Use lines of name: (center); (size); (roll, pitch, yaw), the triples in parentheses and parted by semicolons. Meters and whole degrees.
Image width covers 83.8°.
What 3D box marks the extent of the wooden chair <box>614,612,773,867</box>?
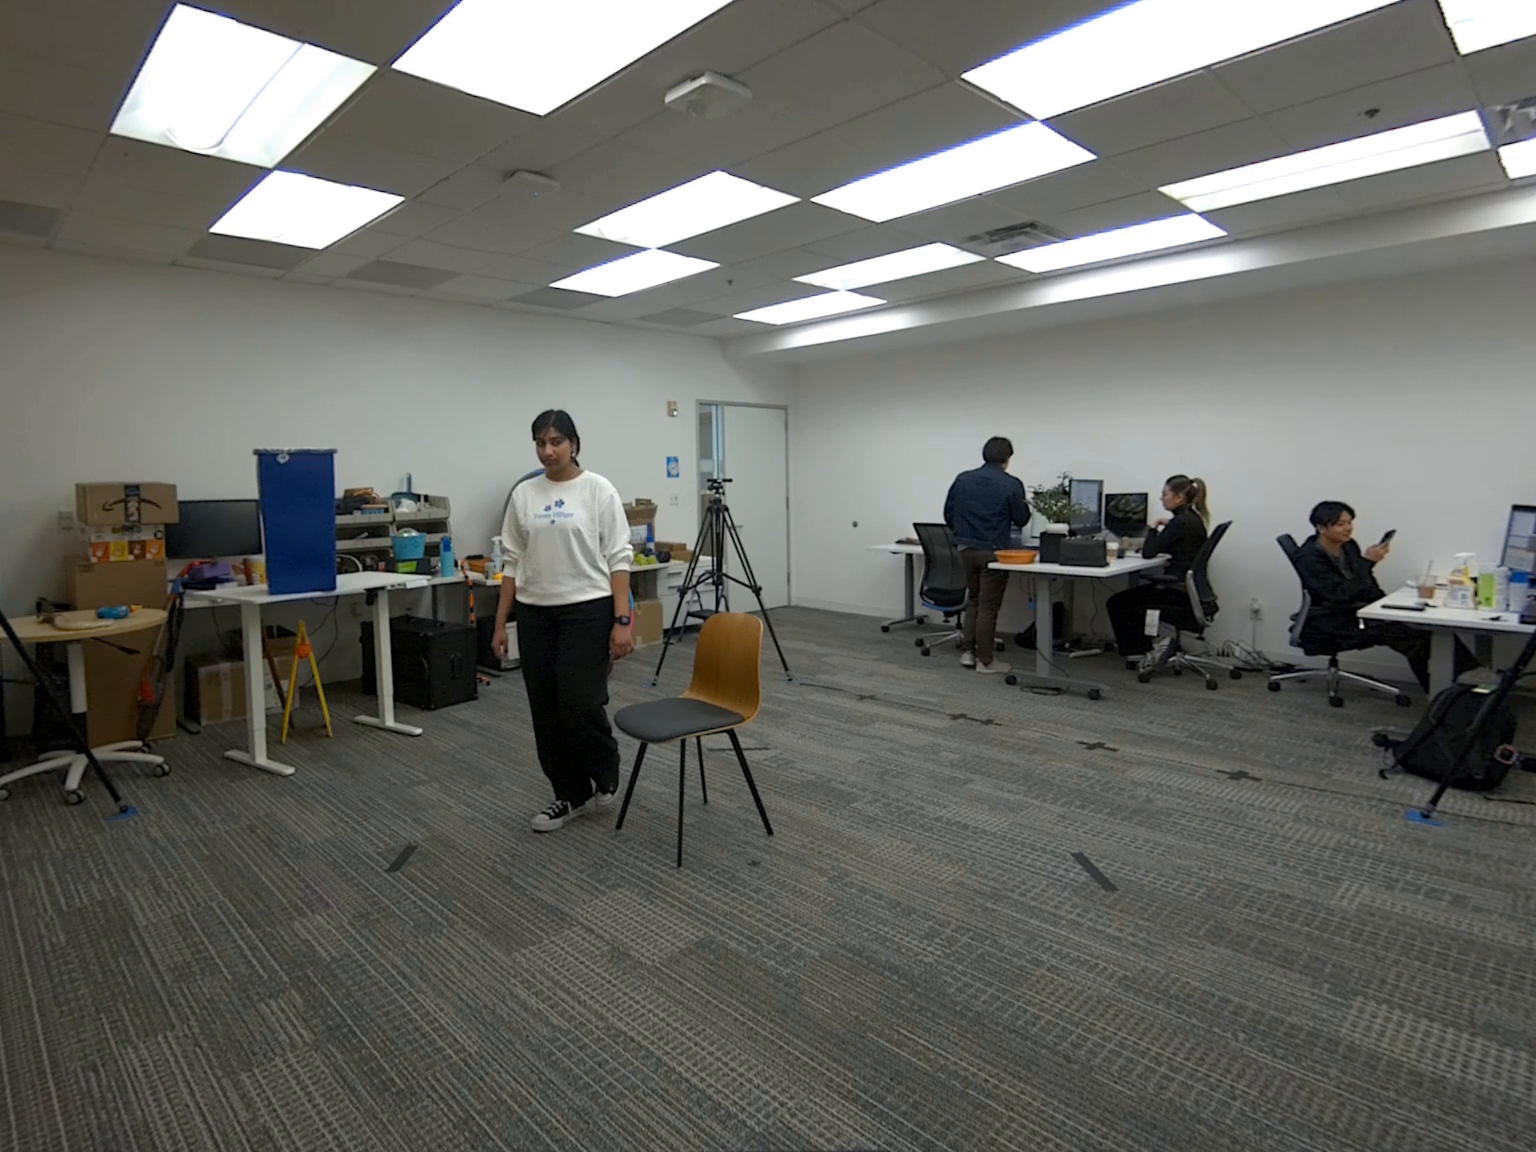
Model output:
wooden chair: (-0.305, 0.590, 3.351); (0.508, 0.877, 0.492); (1, 2, -39)
